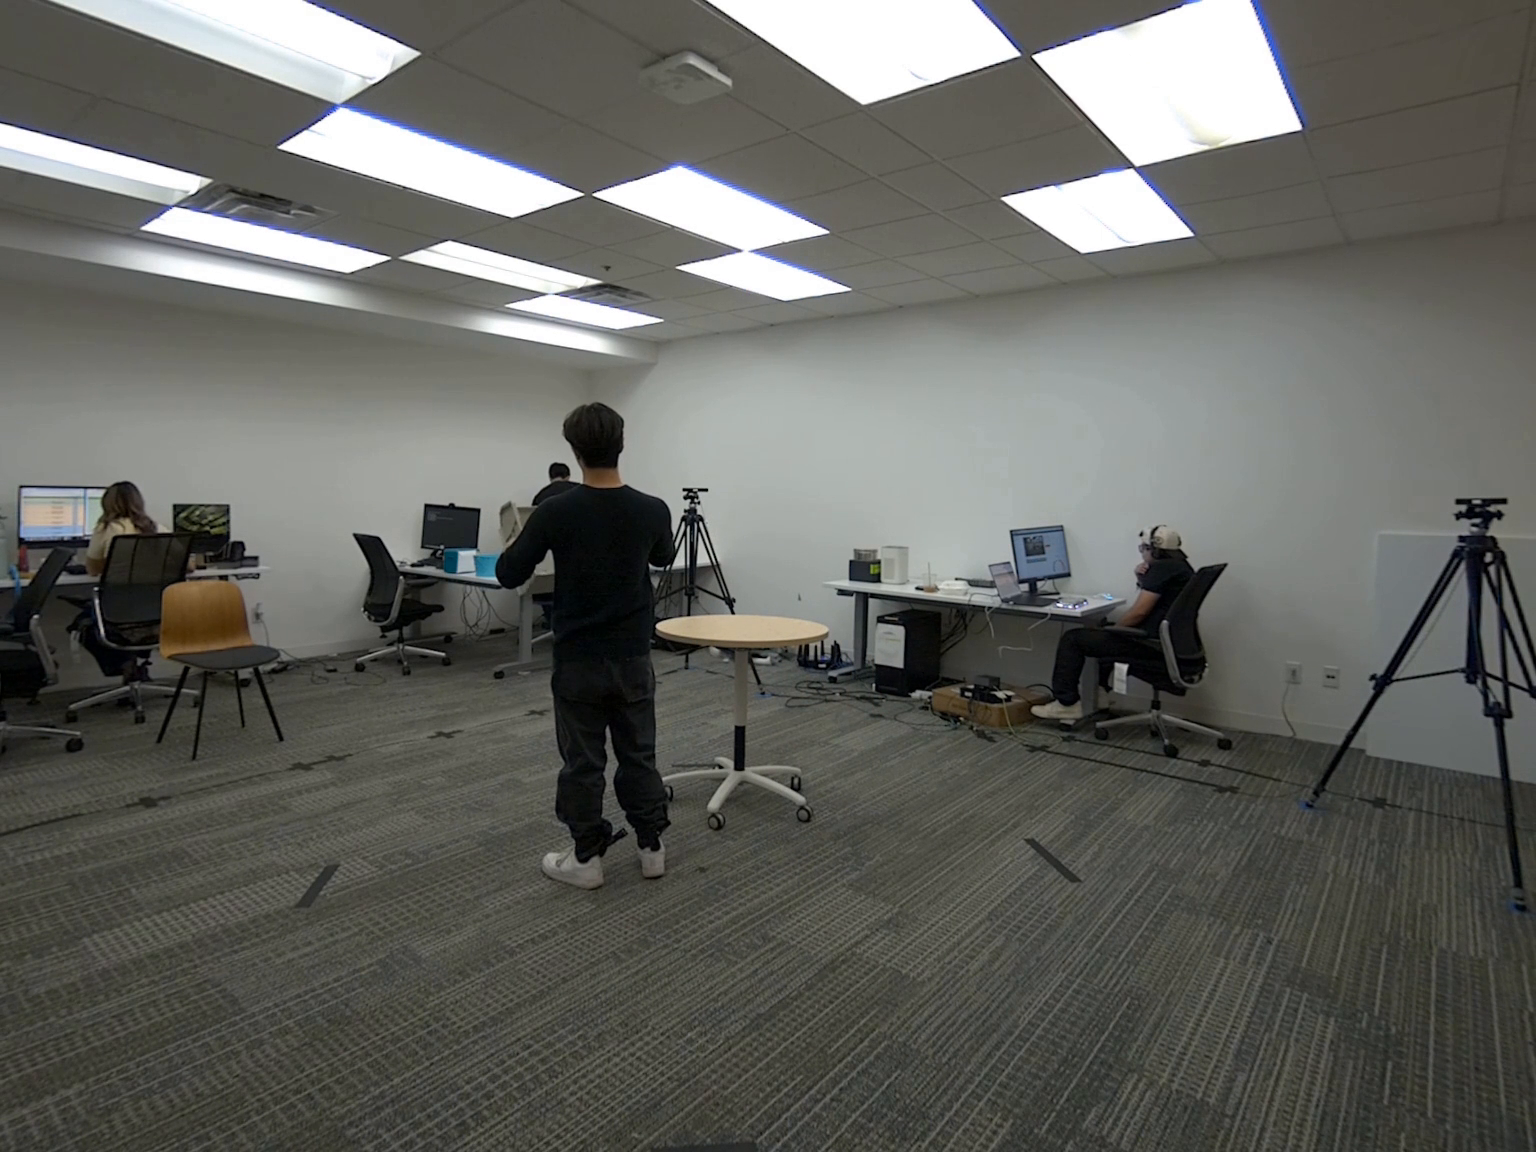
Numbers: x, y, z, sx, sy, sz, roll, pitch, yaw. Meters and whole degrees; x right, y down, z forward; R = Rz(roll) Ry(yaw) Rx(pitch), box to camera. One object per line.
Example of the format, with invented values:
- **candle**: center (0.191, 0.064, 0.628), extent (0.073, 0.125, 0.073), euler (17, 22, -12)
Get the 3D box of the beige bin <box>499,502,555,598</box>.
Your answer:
- **beige bin**: center (-0.833, -0.138, 3.419), extent (0.410, 0.388, 0.189), euler (-5, -29, -40)
